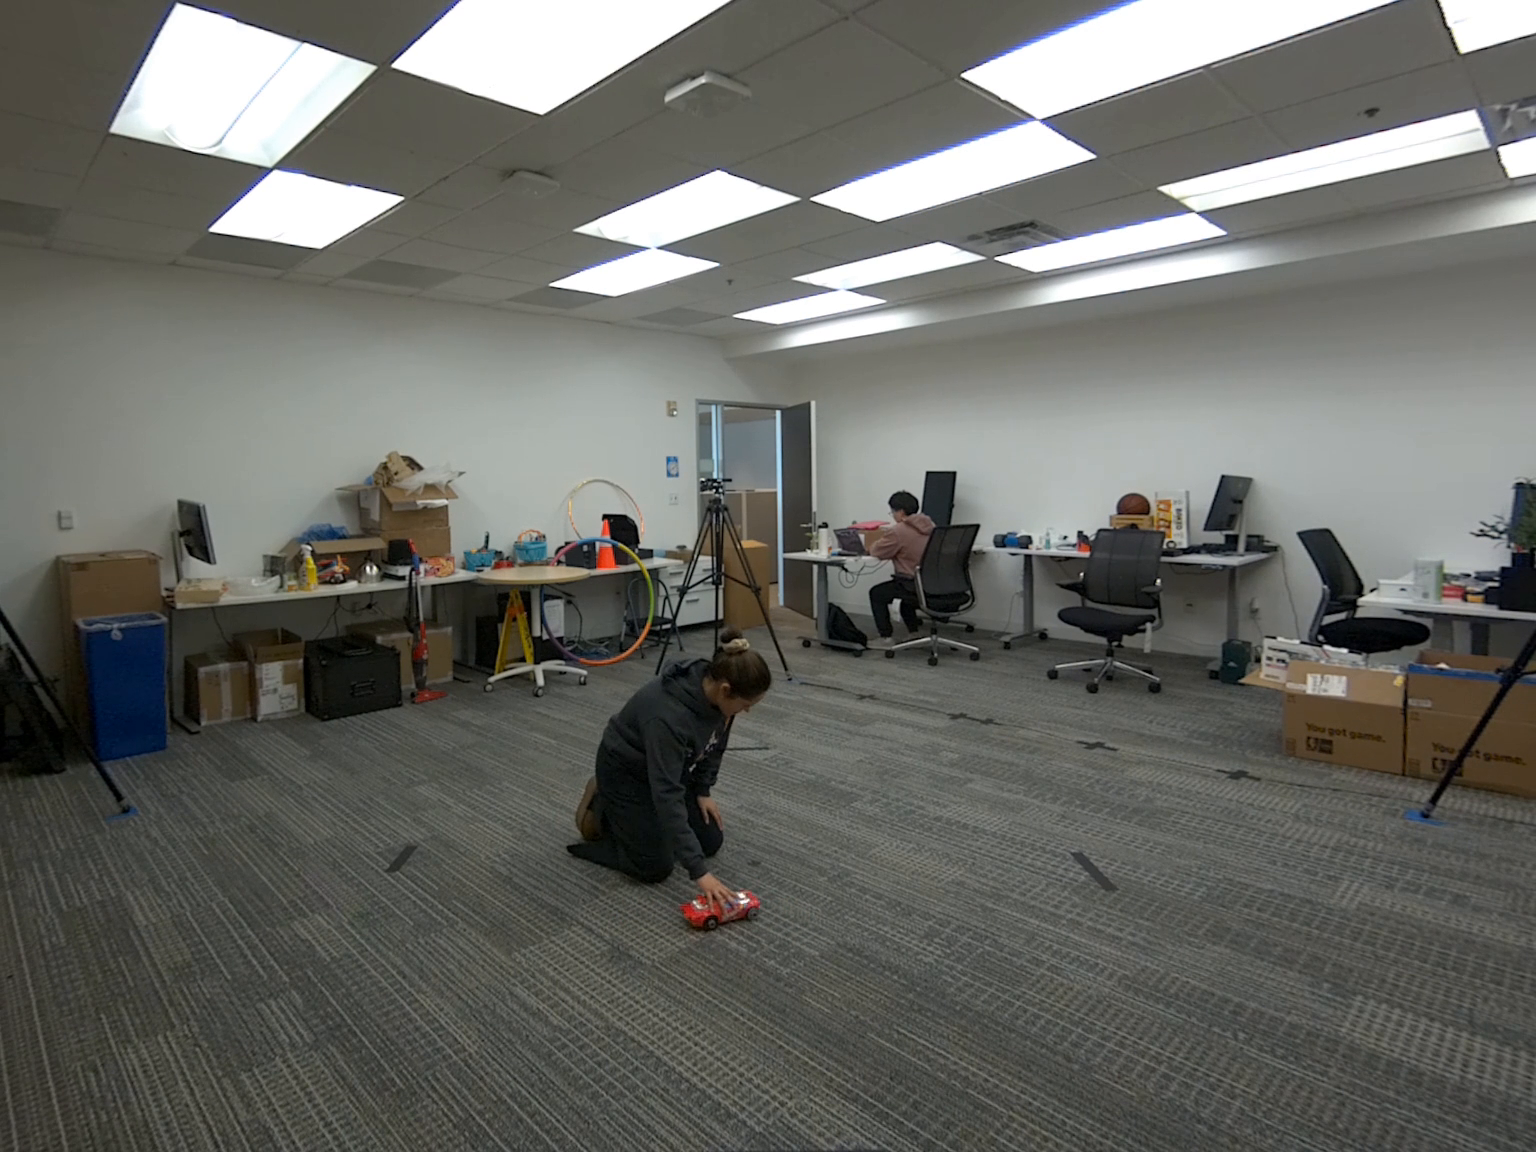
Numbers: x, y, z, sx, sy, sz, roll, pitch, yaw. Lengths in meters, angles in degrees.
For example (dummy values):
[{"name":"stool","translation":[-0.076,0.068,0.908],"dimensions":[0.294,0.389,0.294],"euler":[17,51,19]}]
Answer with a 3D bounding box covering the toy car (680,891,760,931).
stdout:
[{"name":"toy car","translation":[-0.158,1.058,2.706],"dimensions":[0.248,0.083,0.133],"euler":[9,0,-25]}]
